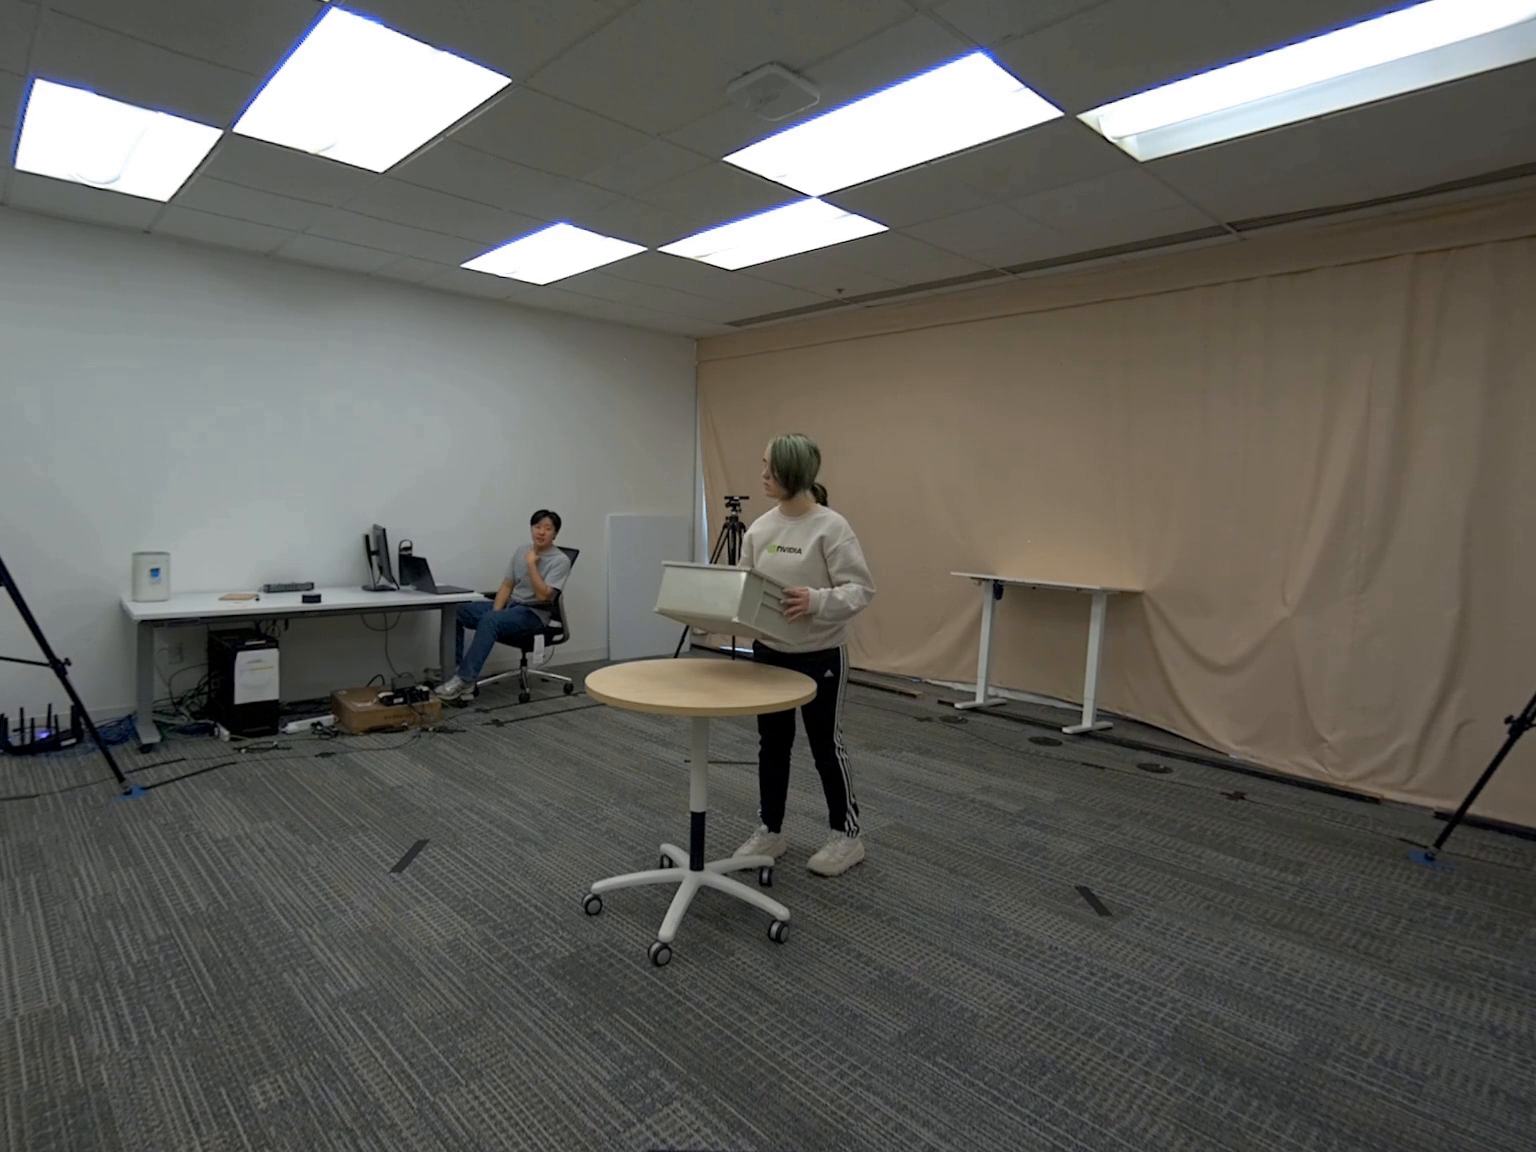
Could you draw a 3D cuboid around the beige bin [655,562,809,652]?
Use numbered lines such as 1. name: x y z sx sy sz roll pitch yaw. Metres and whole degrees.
1. beige bin: -0.130 0.106 2.911 0.433 0.190 0.366 4 -14 41
